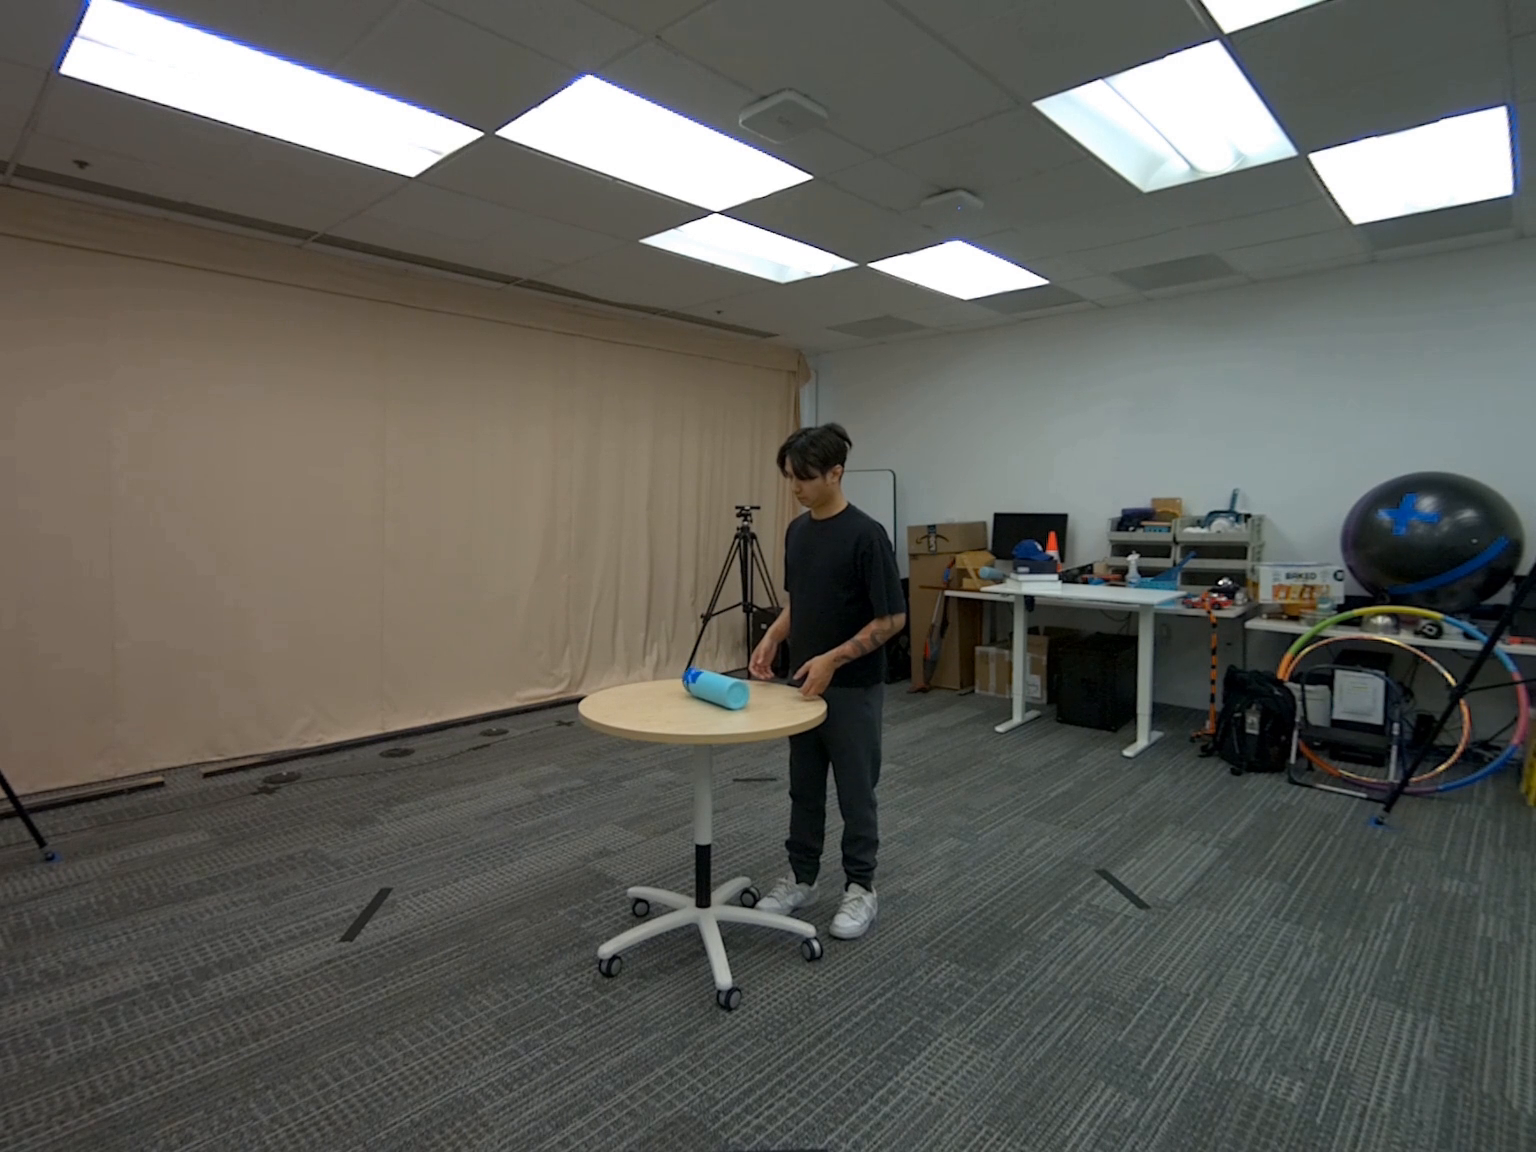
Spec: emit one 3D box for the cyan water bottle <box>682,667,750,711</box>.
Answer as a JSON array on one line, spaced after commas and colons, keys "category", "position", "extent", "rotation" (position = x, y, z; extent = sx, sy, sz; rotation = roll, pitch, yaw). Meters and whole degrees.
[{"category": "cyan water bottle", "position": [-0.169, 0.347, 2.629], "extent": [0.089, 0.092, 0.292], "rotation": [-3, 5, -35]}]
